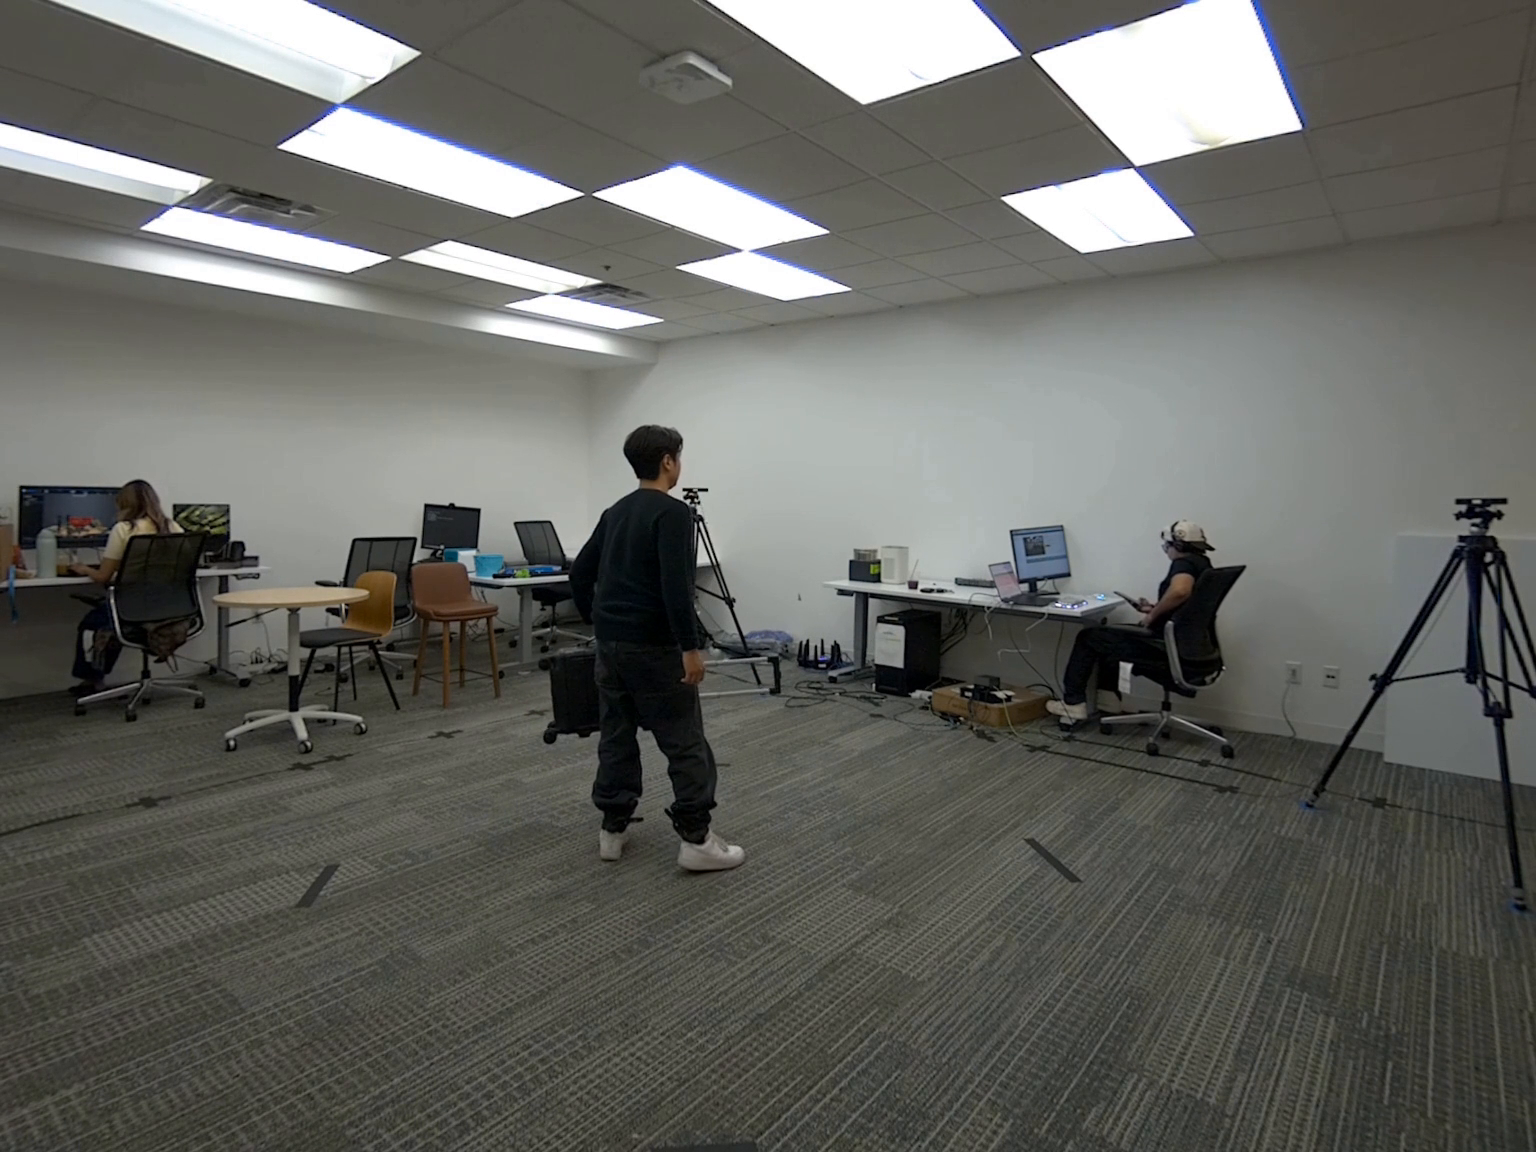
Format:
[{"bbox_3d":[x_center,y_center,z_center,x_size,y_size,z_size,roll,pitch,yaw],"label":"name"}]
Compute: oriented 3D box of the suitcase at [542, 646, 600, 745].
[{"bbox_3d":[-0.464,0.434,3.571,0.970,0.385,0.259,-6,-1,-8],"label":"suitcase"}]
